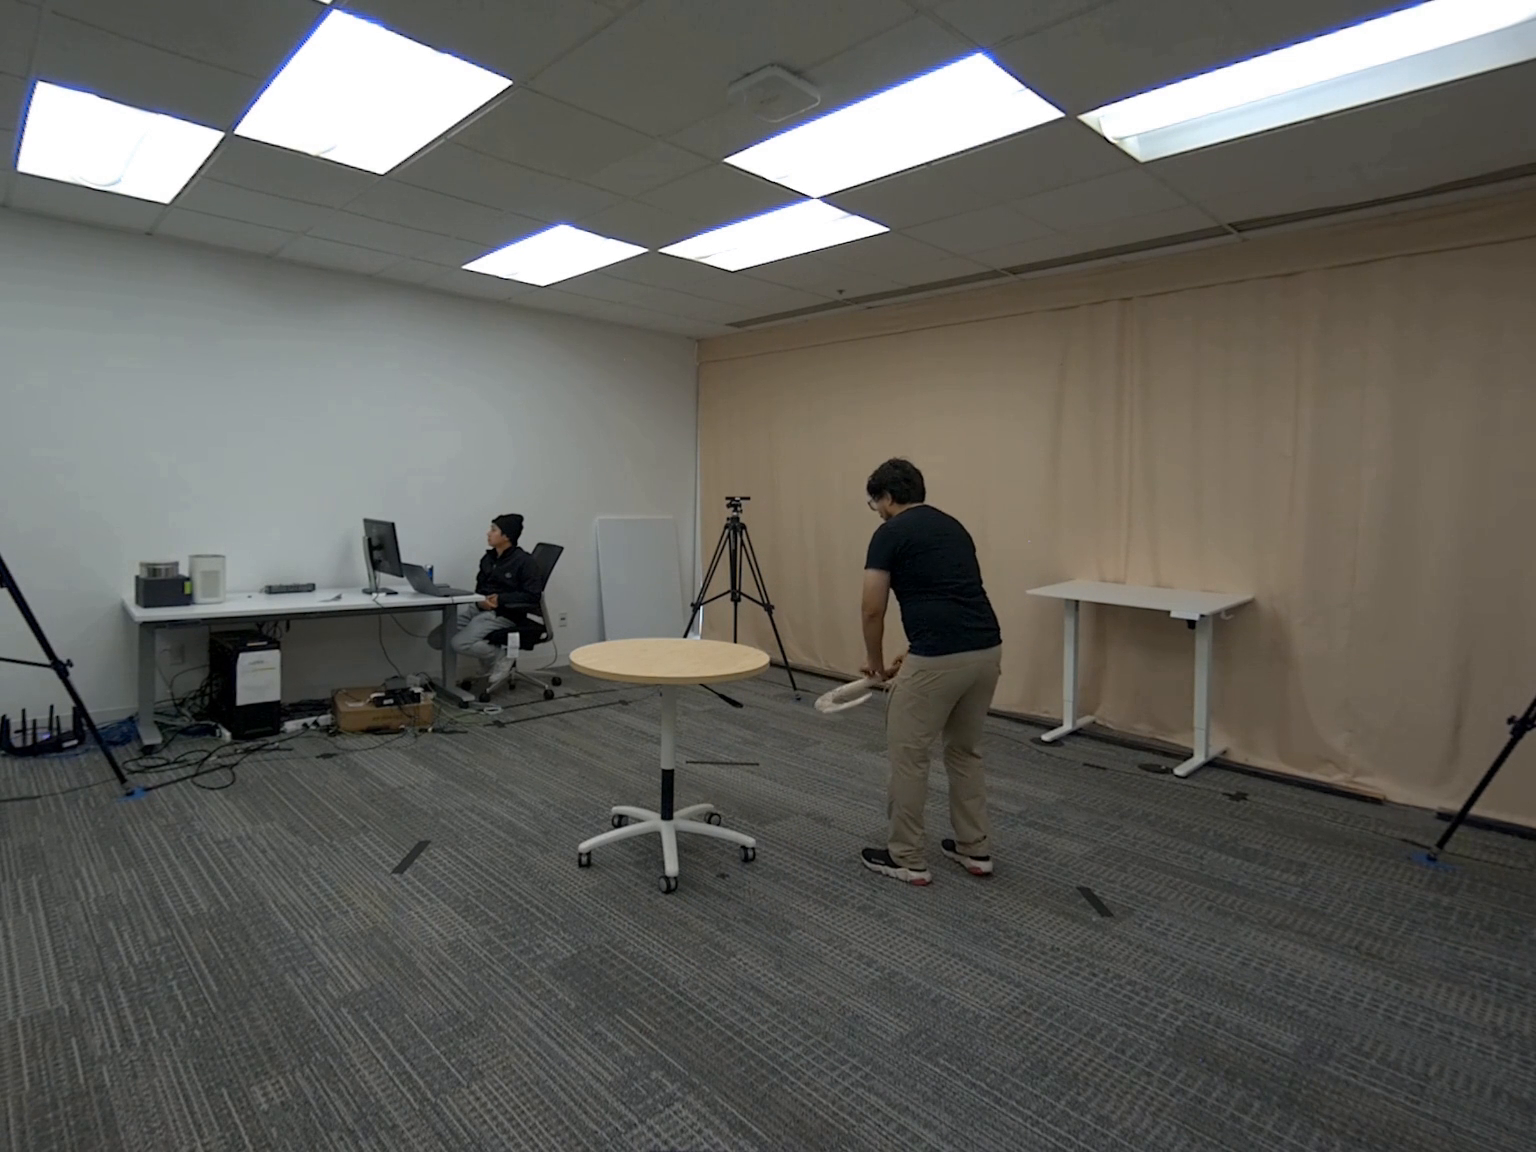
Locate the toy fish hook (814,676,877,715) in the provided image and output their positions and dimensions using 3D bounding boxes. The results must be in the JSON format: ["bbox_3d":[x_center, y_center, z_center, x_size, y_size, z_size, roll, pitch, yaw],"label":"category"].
[{"bbox_3d":[0.414,0.429,3.325,0.502,0.048,0.229,-23,14,-19],"label":"toy fish hook"}]
